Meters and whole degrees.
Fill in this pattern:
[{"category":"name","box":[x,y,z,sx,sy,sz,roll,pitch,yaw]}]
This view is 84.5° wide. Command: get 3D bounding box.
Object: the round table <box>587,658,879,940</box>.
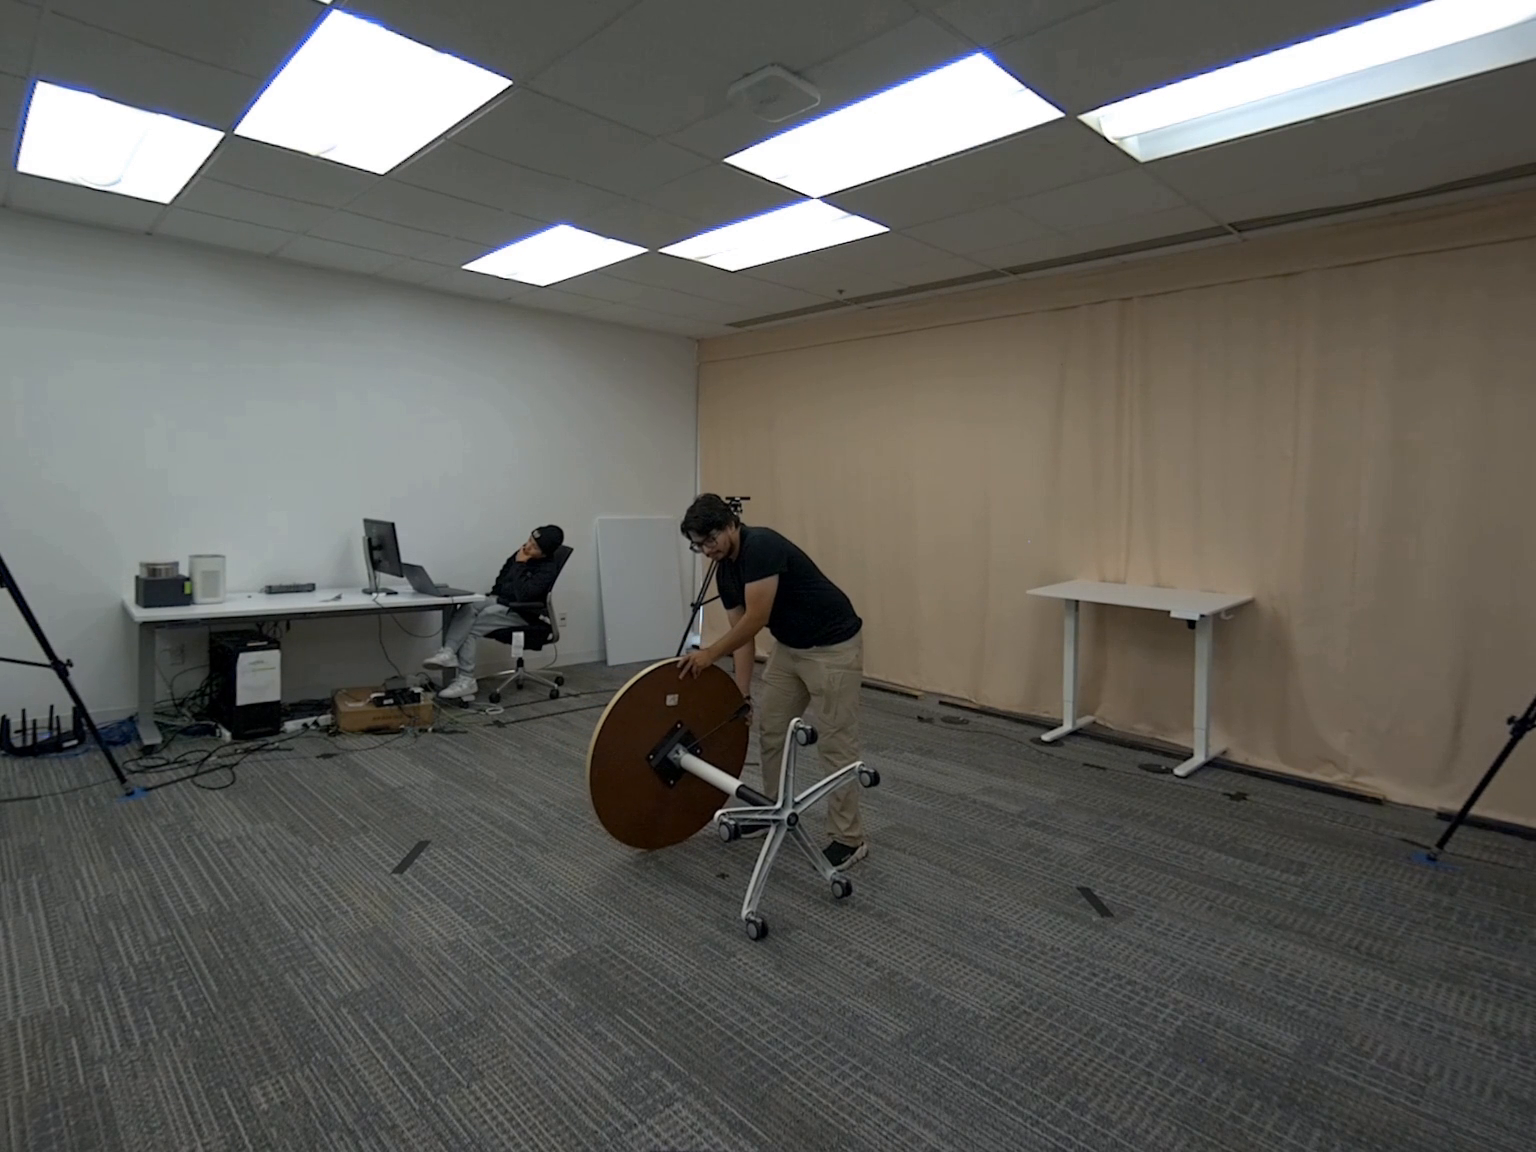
[{"category":"round table","box":[-0.134,0.753,3.022,0.767,0.781,0.808,-2,9,-40]}]
